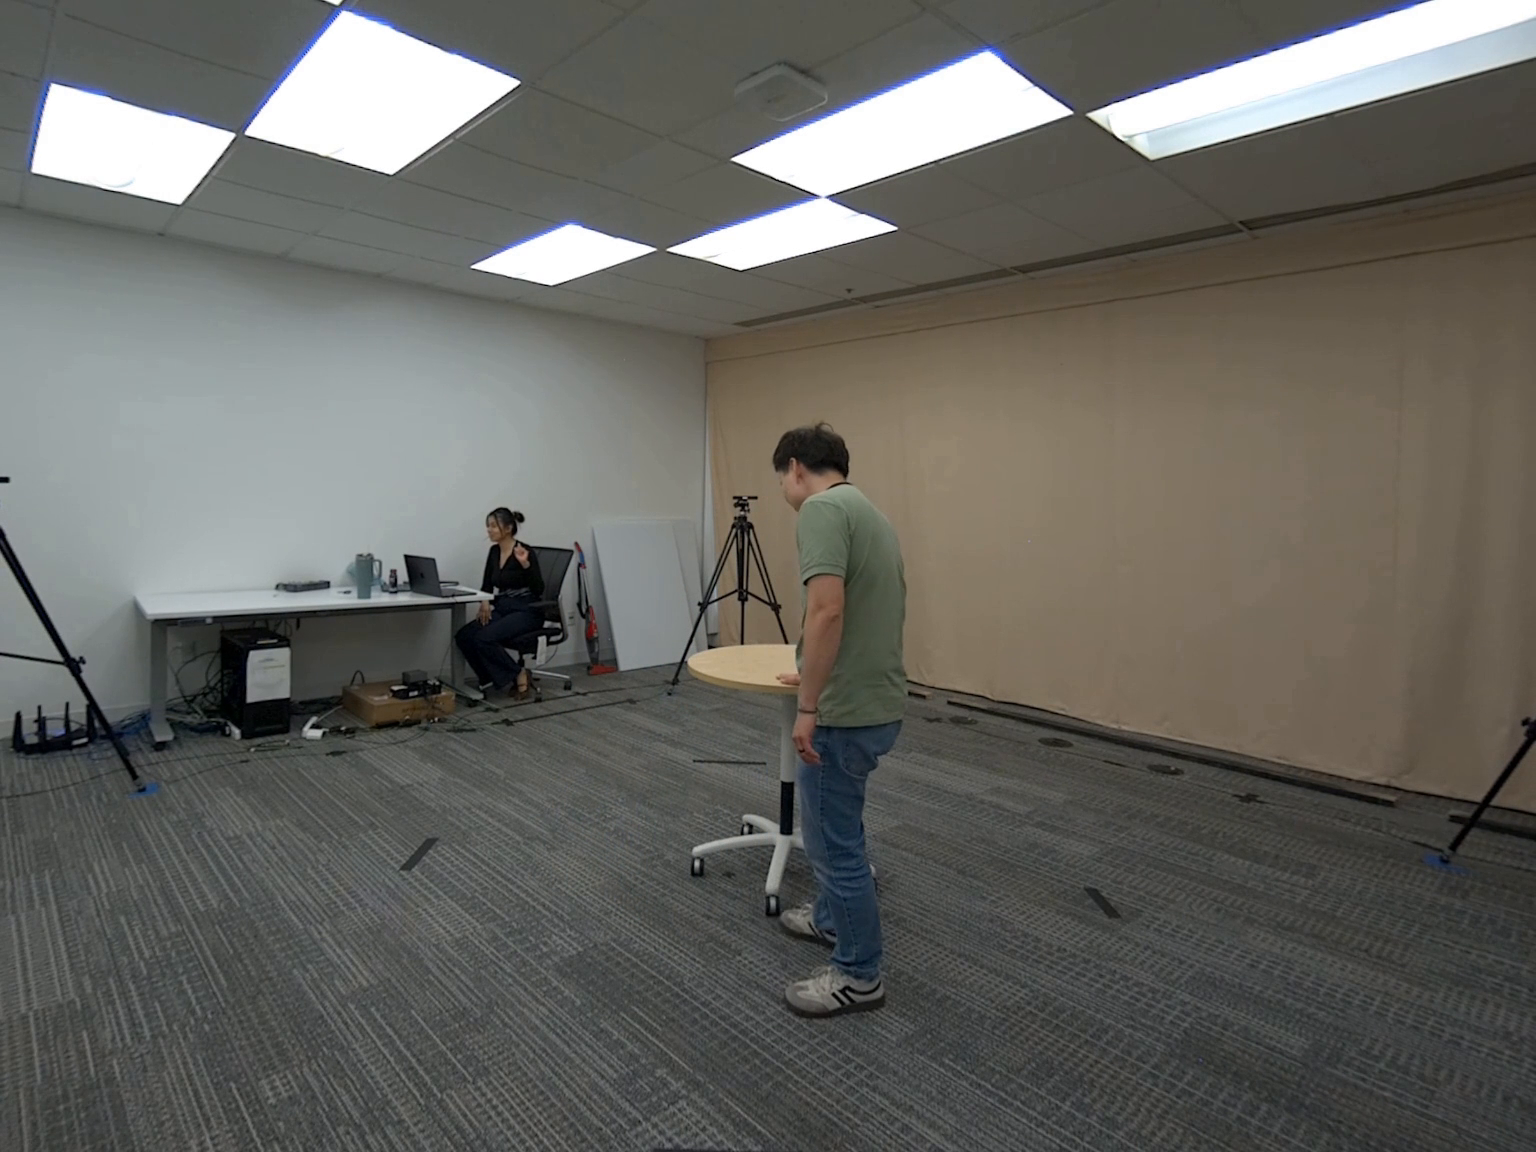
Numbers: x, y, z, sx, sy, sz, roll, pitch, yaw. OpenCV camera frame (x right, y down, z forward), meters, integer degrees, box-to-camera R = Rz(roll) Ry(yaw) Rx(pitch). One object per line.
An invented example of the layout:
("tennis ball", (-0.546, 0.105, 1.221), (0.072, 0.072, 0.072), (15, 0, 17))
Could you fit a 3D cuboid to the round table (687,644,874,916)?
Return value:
("round table", (0.066, 0.715, 3.134), (0.763, 0.792, 0.767), (1, 4, -1))
